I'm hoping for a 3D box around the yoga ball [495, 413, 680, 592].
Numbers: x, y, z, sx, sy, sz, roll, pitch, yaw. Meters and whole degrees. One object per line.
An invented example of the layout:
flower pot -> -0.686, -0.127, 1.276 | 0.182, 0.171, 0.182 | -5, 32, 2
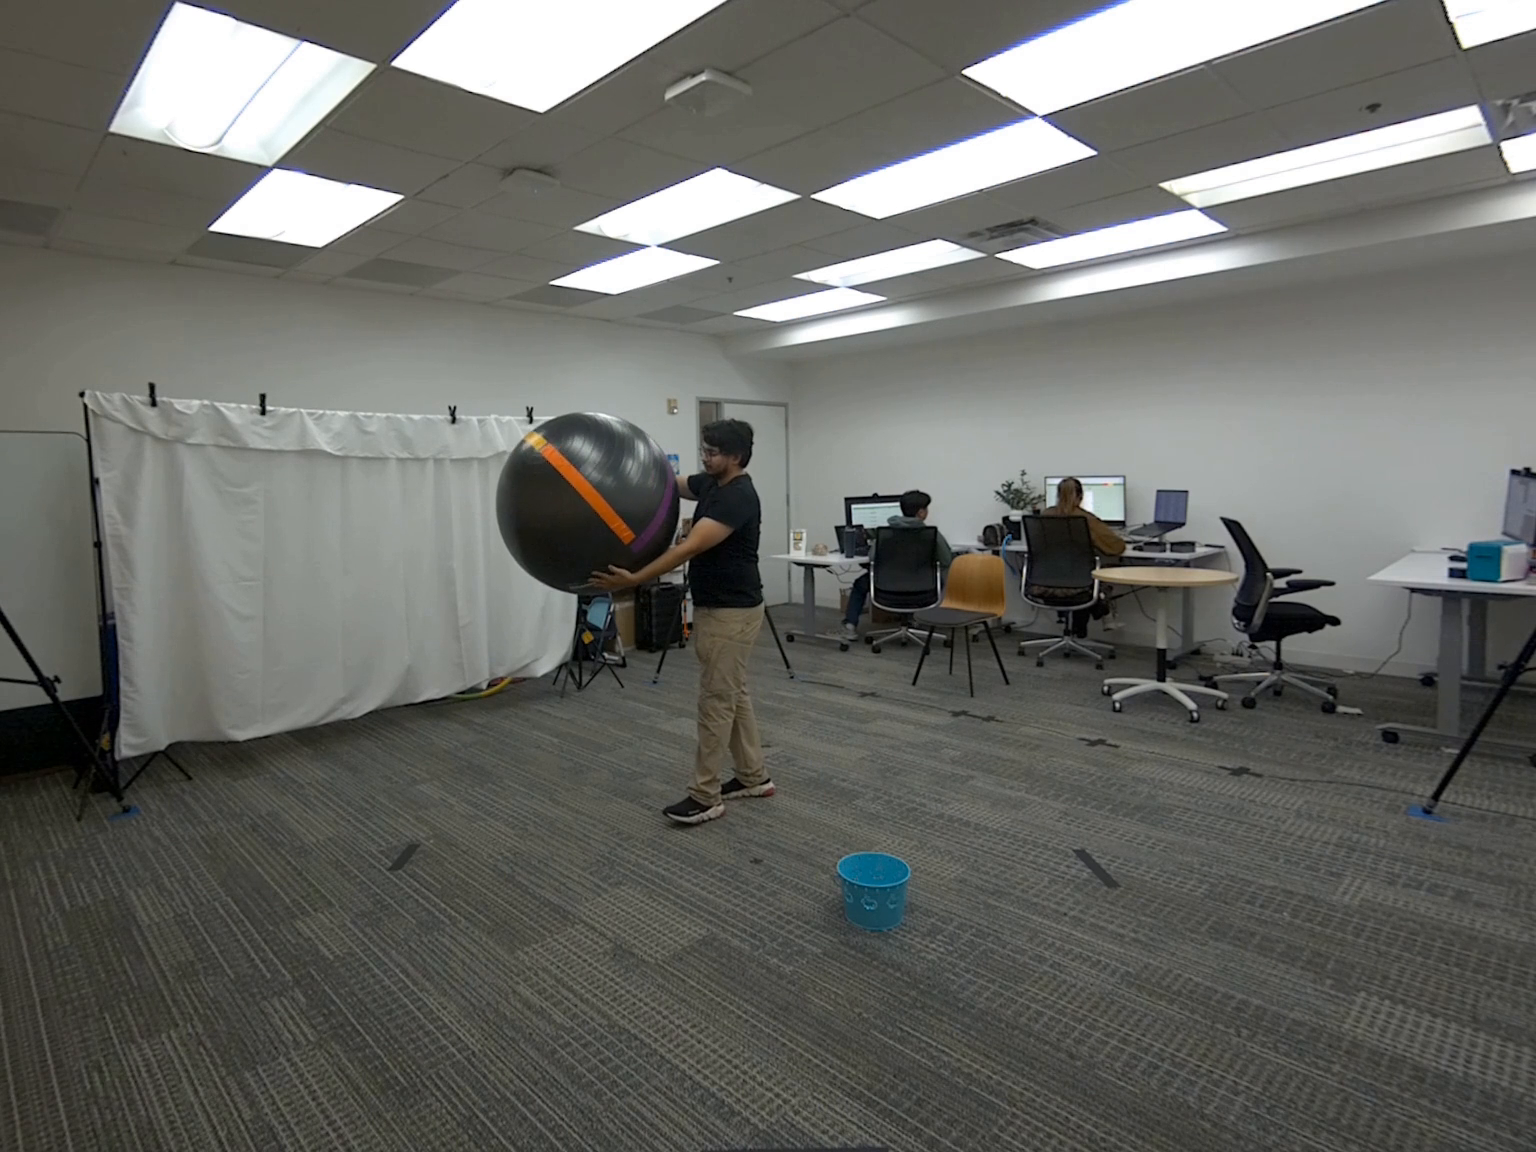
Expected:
yoga ball -> -0.748, -0.296, 3.558 | 0.757, 0.755, 0.762 | -1, 5, -2
